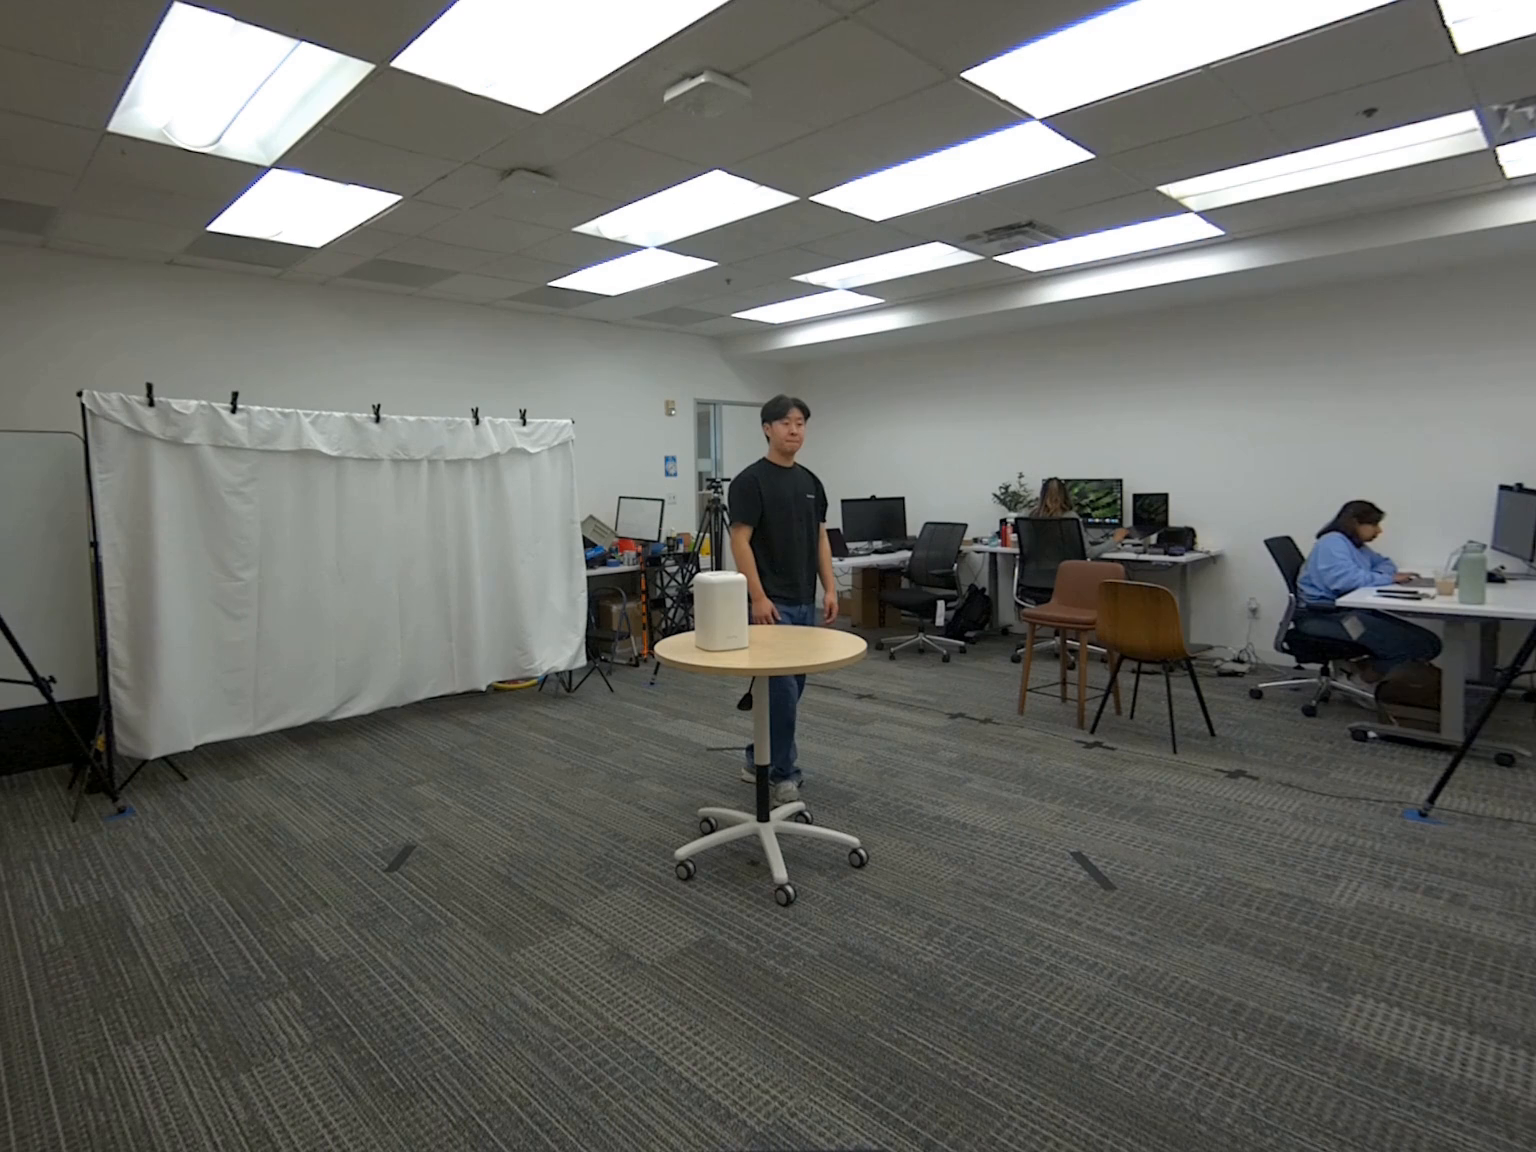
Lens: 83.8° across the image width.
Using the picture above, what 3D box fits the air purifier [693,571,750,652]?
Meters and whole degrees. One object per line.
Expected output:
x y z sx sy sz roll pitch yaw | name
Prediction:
-0.165 0.119 3.062 0.168 0.264 0.176 -4 5 -24 | air purifier
